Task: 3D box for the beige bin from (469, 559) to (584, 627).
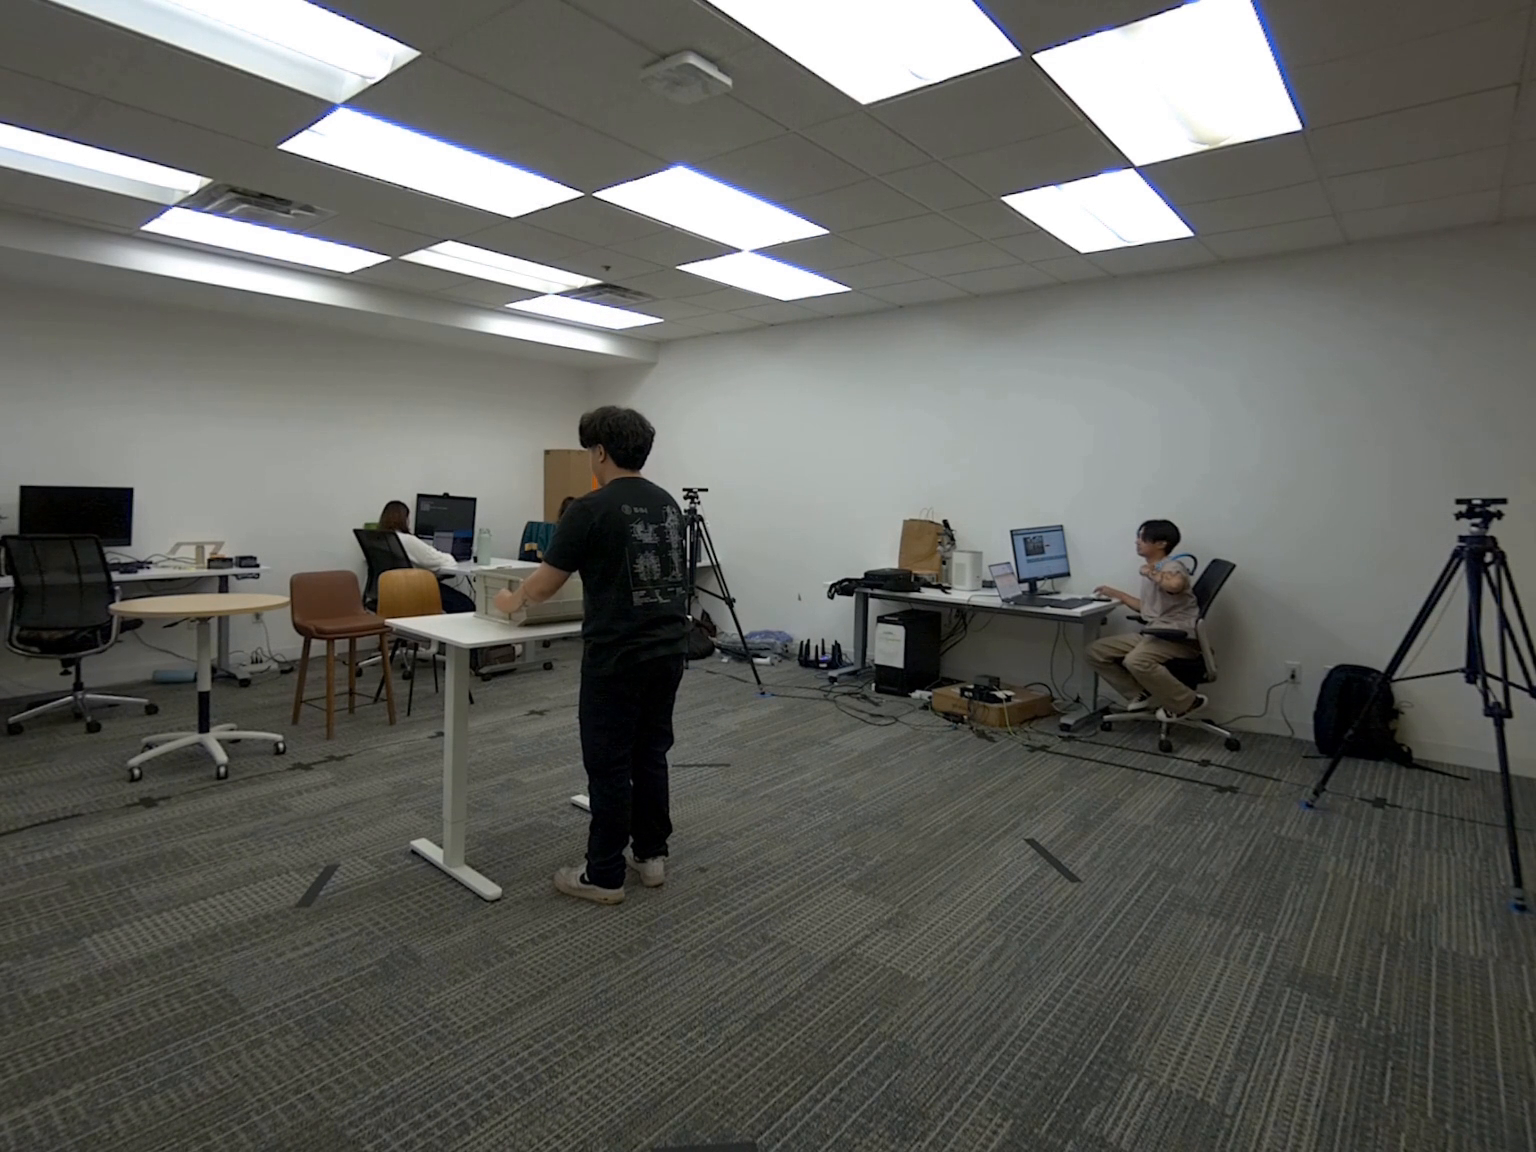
[{"bbox_3d":[-0.870,0.076,3.286,0.390,0.188,0.410,5,7,44],"label":"beige bin"}]
